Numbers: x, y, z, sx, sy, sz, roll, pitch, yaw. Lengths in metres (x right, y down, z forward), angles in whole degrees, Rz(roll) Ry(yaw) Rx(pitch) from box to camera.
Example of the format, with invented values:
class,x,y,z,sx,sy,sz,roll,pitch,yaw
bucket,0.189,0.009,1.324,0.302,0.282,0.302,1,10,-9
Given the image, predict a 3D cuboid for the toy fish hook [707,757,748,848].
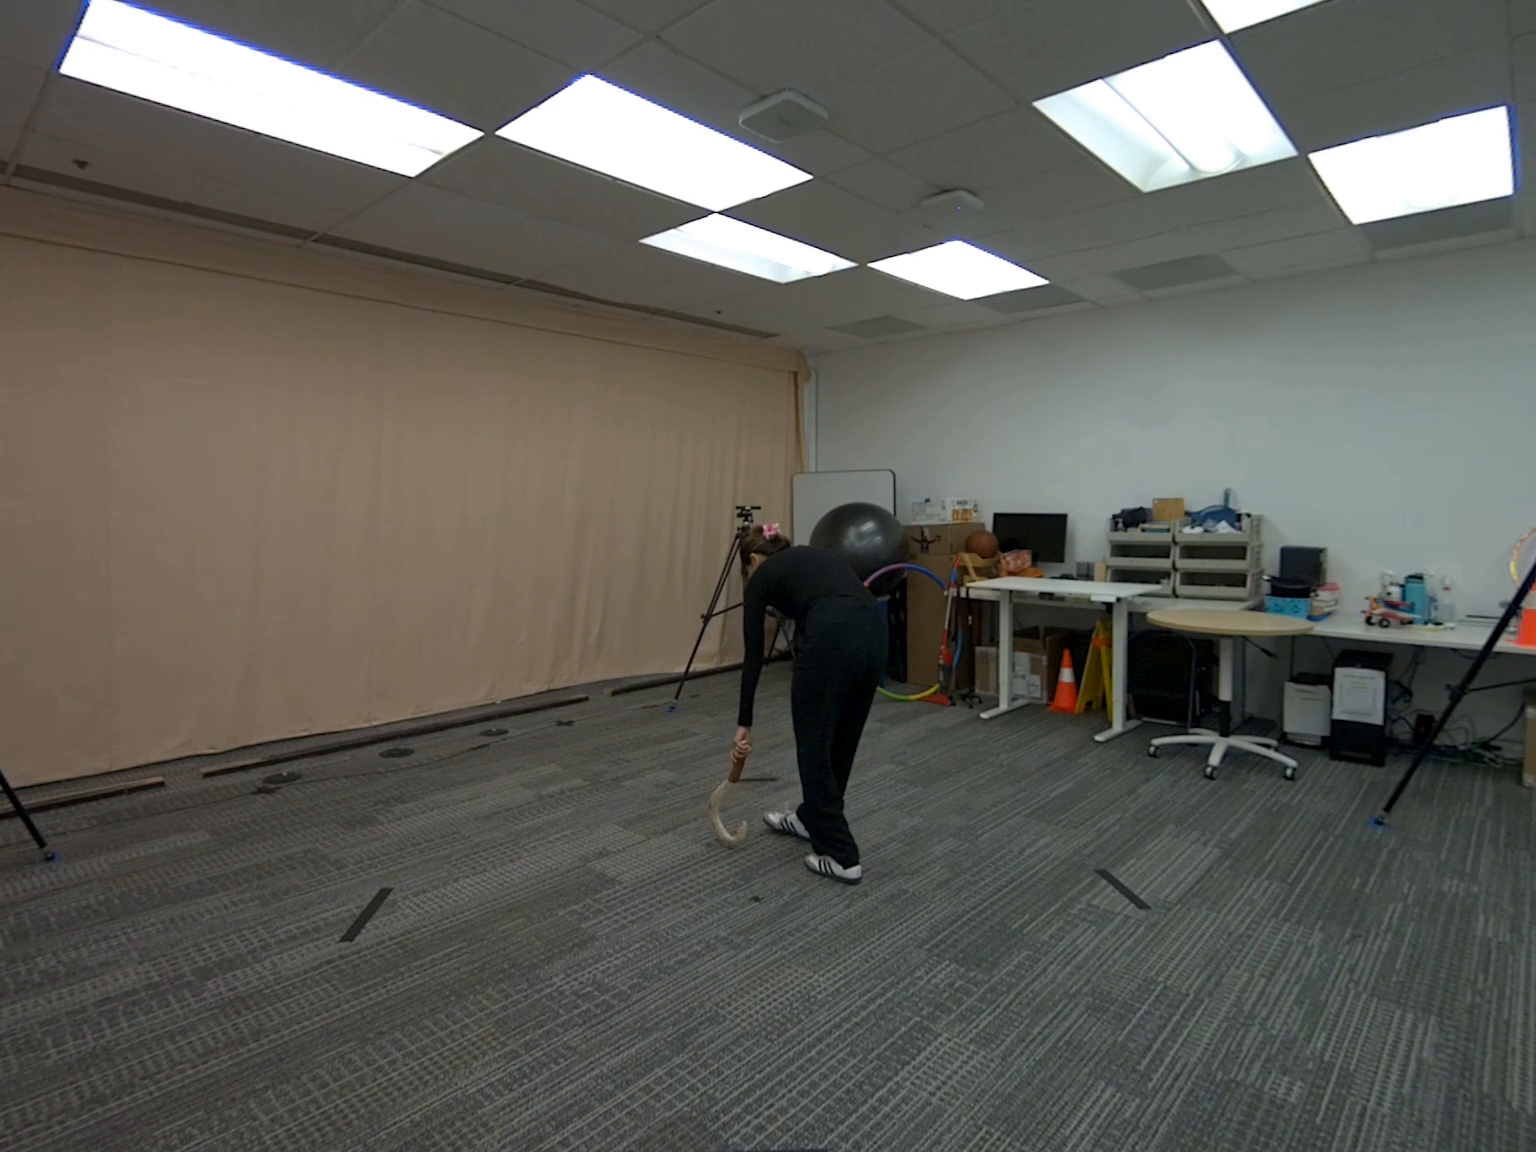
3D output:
class,x,y,z,sx,sy,sz,roll,pitch,yaw
toy fish hook,-0.126,0.876,3.360,0.047,0.503,0.232,-12,41,-43
